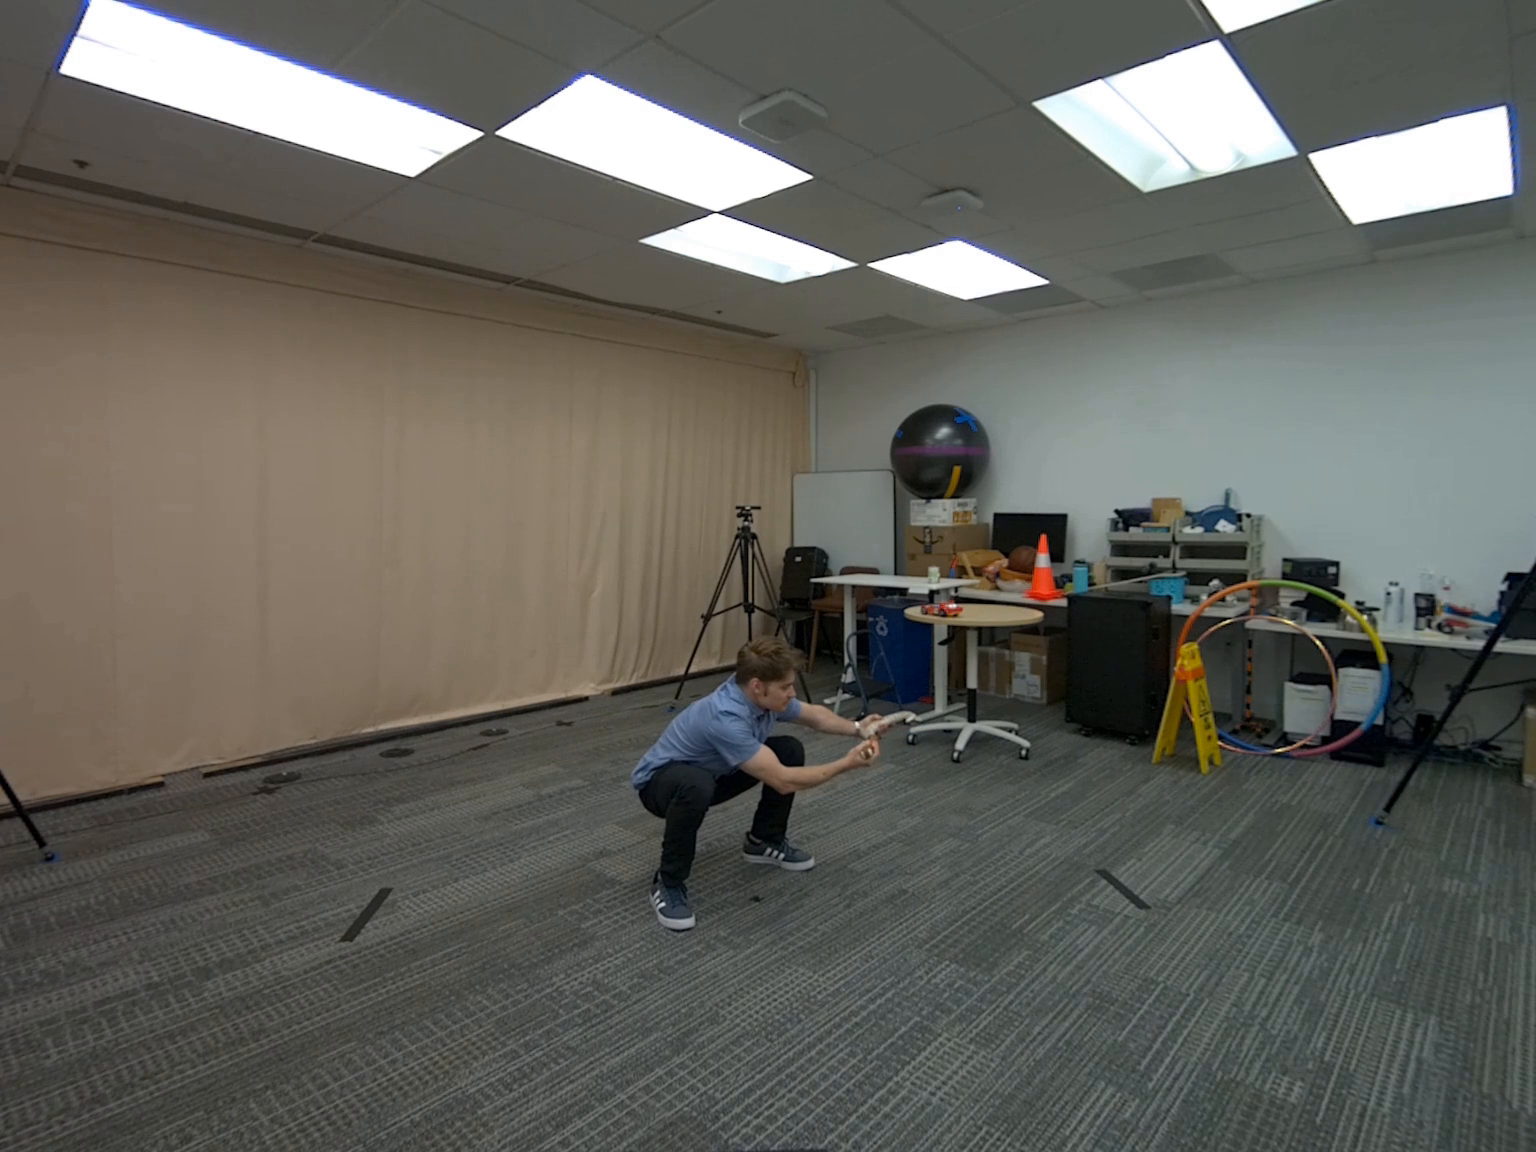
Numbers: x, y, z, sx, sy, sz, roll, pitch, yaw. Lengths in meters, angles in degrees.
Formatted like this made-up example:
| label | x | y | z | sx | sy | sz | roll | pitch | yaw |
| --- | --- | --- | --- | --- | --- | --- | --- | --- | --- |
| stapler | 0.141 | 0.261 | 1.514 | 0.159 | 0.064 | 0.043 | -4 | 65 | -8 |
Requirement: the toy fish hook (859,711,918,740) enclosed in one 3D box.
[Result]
| label | x | y | z | sx | sy | sz | roll | pitch | yaw |
| --- | --- | --- | --- | --- | --- | --- | --- | --- | --- |
| toy fish hook | 0.450 | 0.601 | 3.216 | 0.226 | 0.048 | 0.502 | -27 | 1 | 12 |
